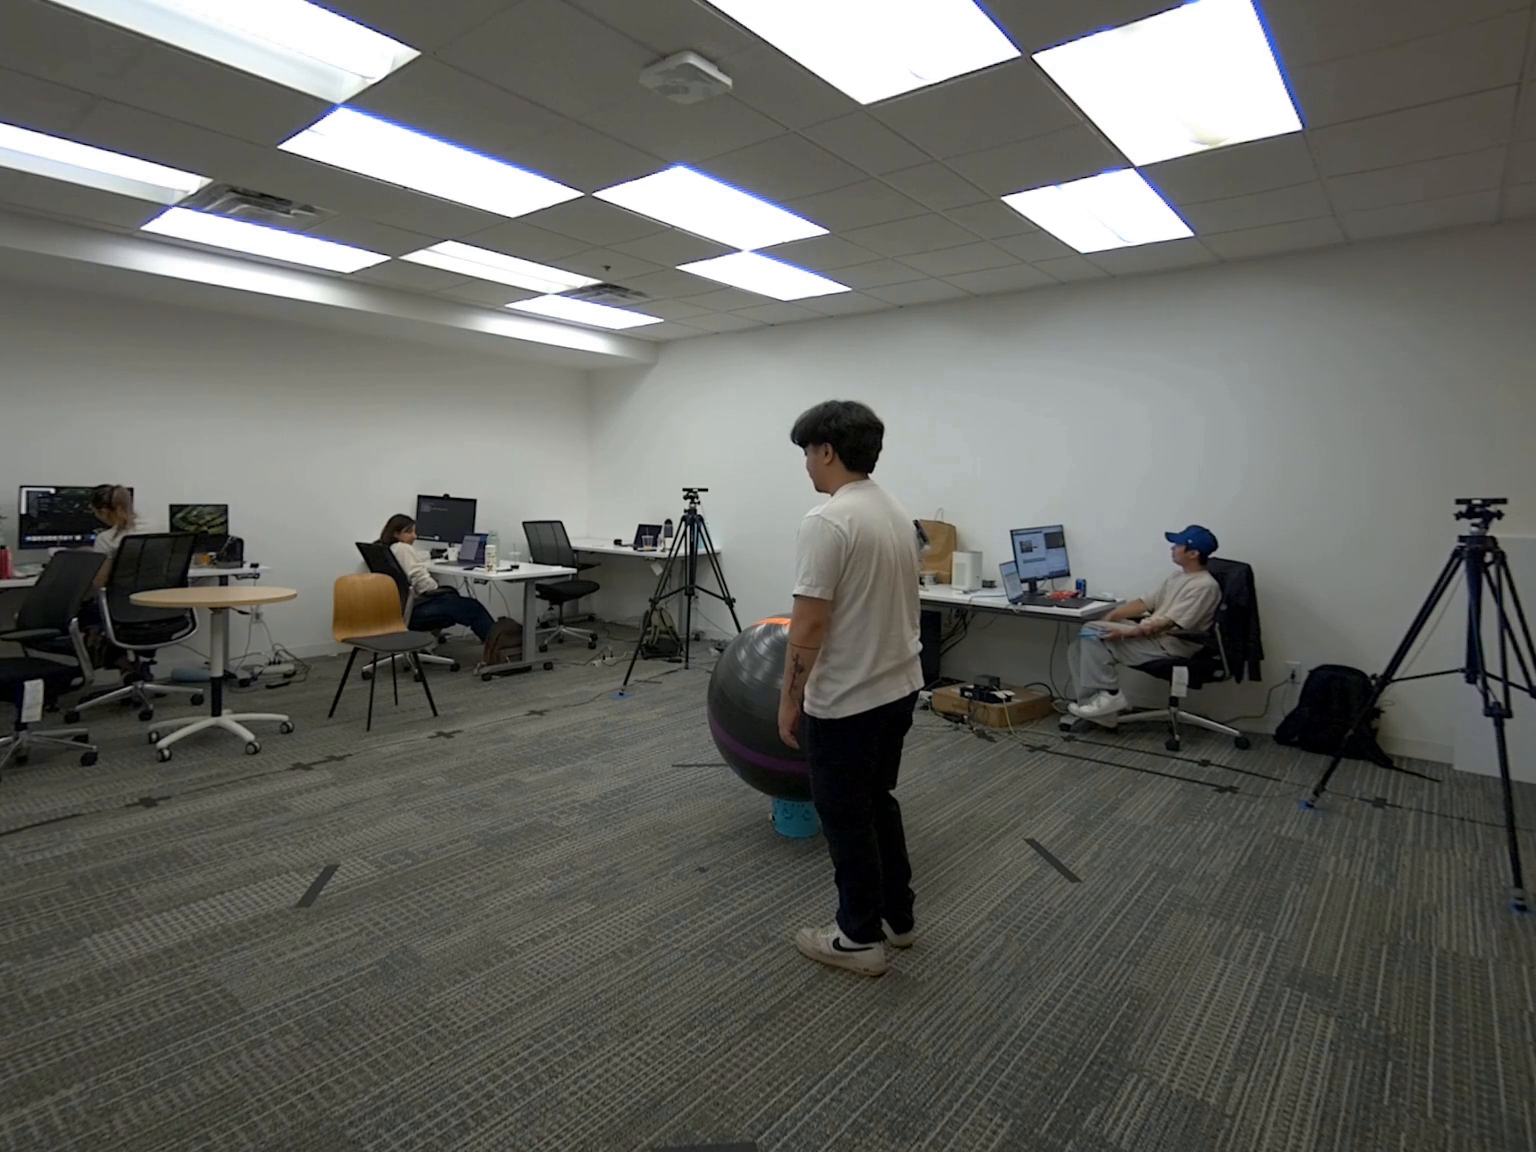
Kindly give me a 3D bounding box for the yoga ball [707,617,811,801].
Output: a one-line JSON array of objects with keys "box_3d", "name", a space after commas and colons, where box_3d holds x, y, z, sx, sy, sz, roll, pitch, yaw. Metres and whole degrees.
[{"box_3d": [0.121, 0.527, 3.501, 0.757, 0.756, 0.761, 1, 4, -2], "name": "yoga ball"}]
